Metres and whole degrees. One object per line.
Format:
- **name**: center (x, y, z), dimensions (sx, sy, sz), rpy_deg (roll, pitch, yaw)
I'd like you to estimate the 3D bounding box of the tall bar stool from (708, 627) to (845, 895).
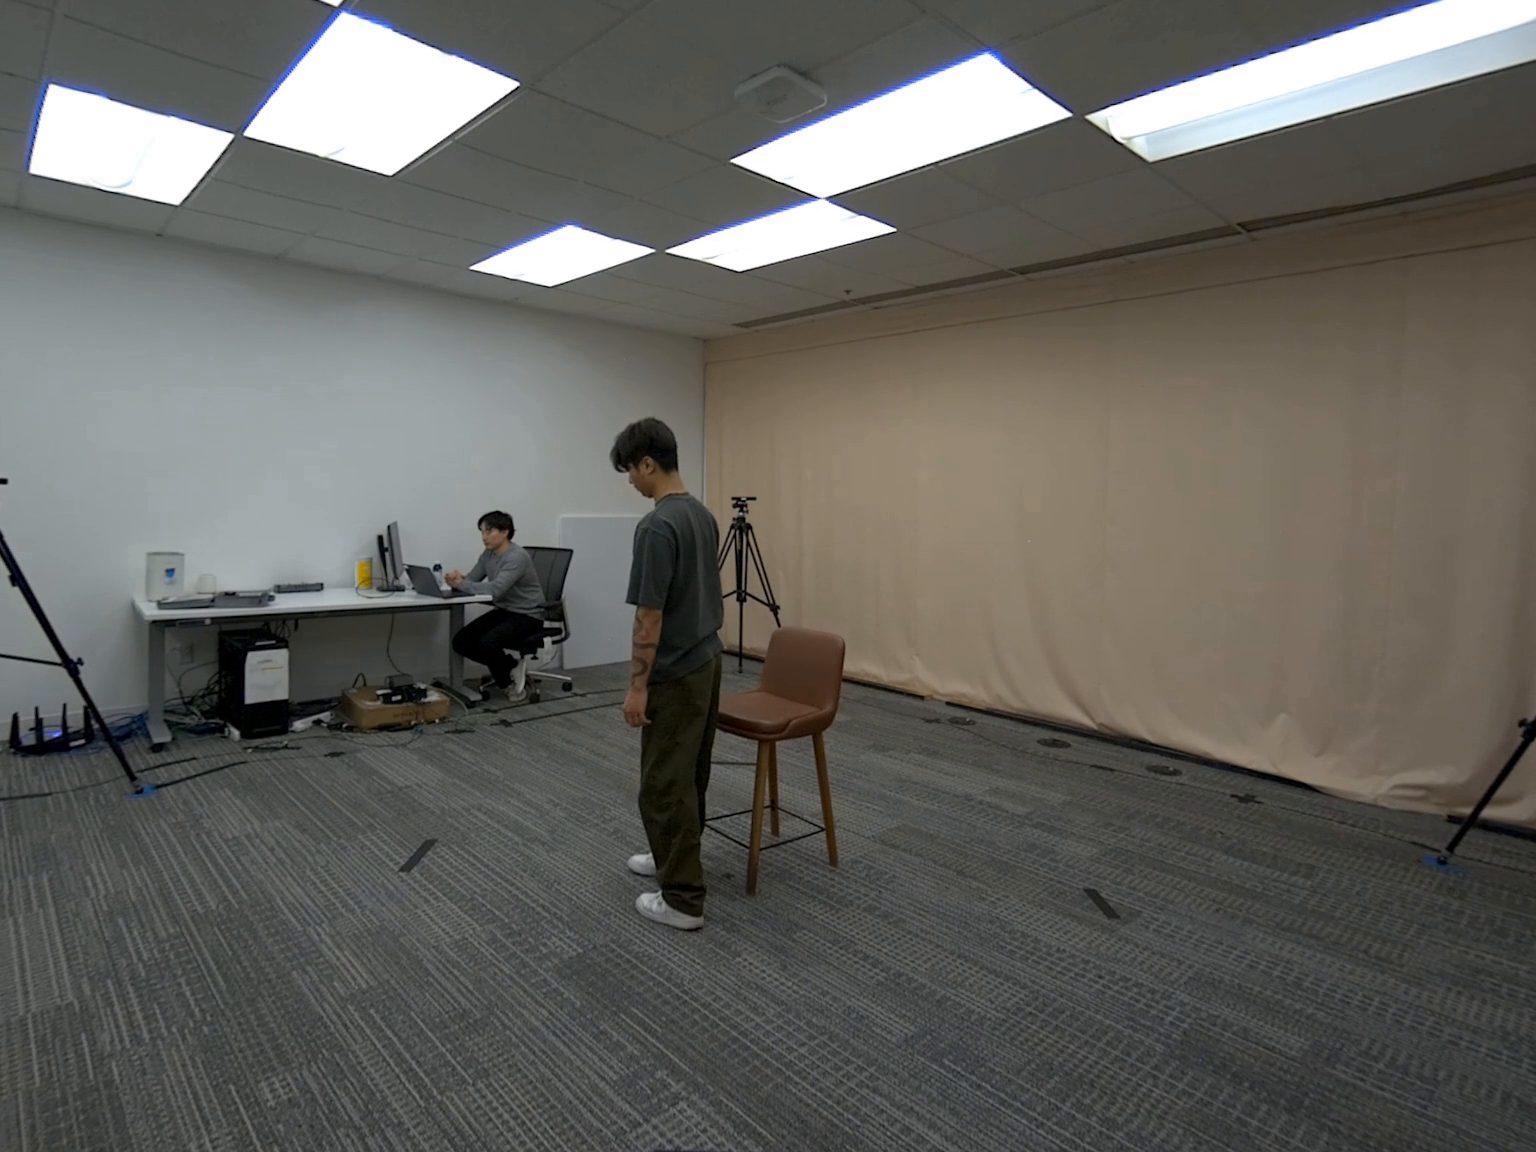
- **tall bar stool**: center (-0.011, 0.661, 3.216), dimensions (0.456, 0.889, 0.468), rpy_deg (1, 2, -39)
